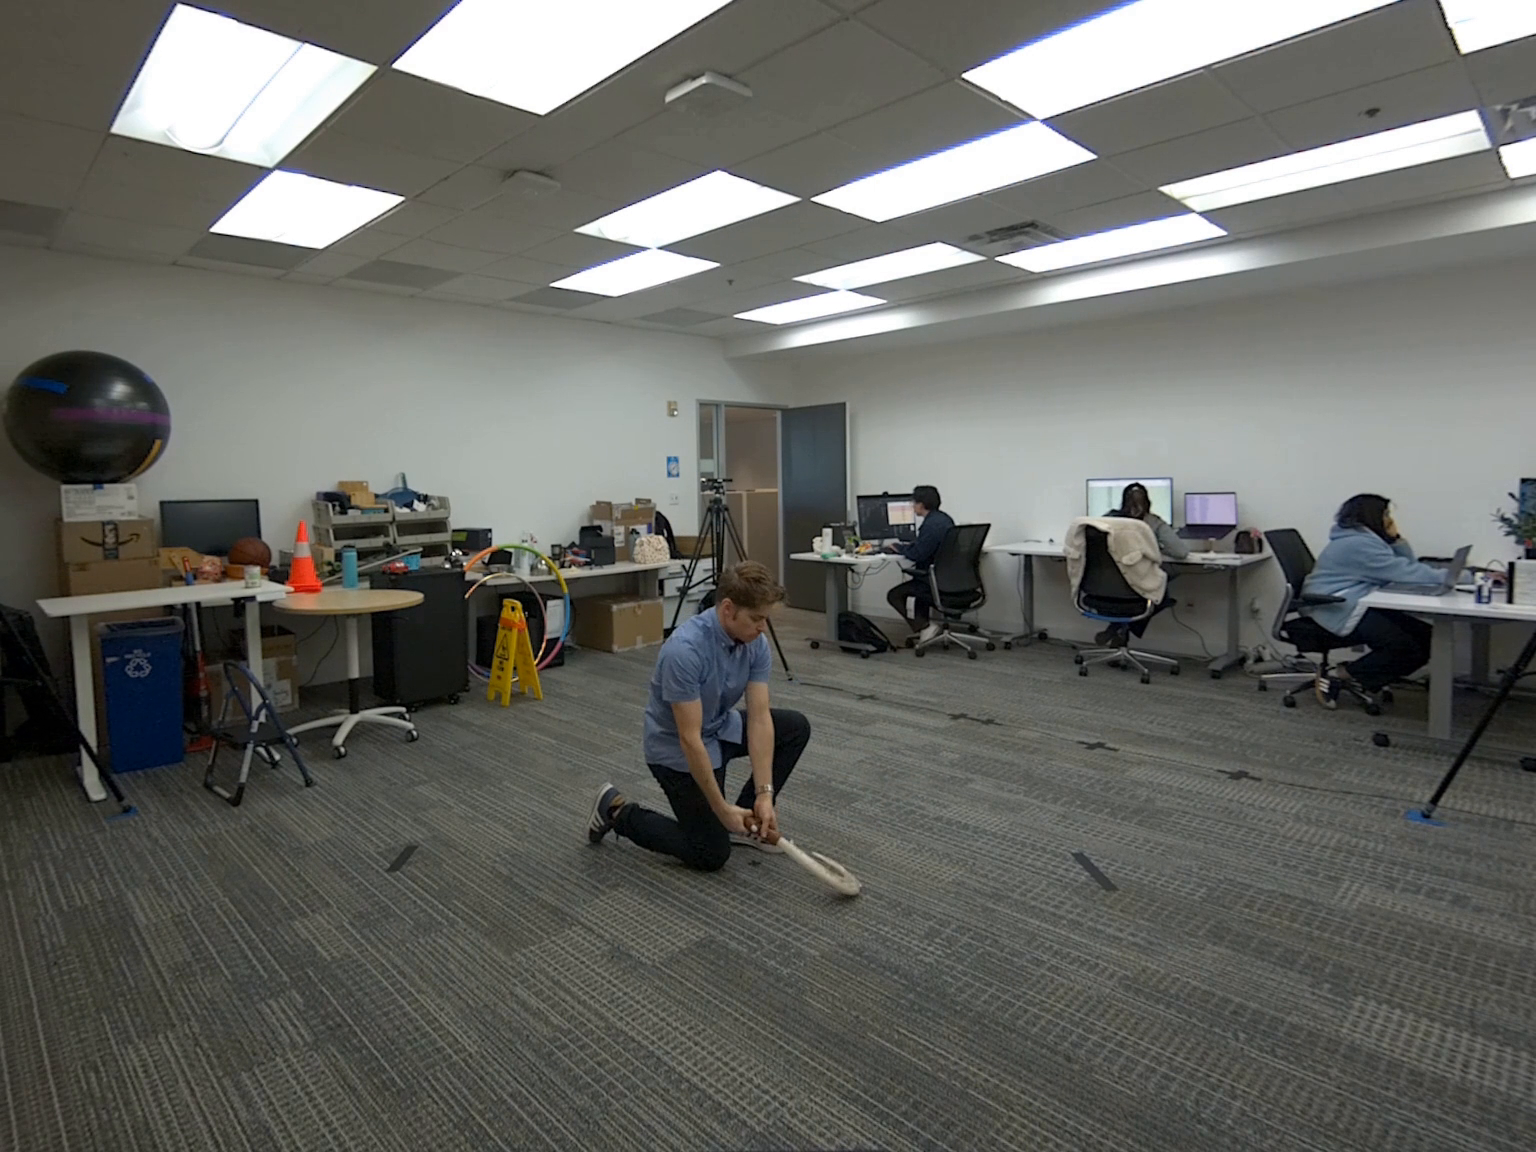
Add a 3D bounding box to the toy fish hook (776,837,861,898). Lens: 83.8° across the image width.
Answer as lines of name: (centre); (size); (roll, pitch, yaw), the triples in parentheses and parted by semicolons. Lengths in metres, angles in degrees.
toy fish hook: (0.098, 0.937, 2.947); (0.519, 0.048, 0.219); (29, -3, 18)
